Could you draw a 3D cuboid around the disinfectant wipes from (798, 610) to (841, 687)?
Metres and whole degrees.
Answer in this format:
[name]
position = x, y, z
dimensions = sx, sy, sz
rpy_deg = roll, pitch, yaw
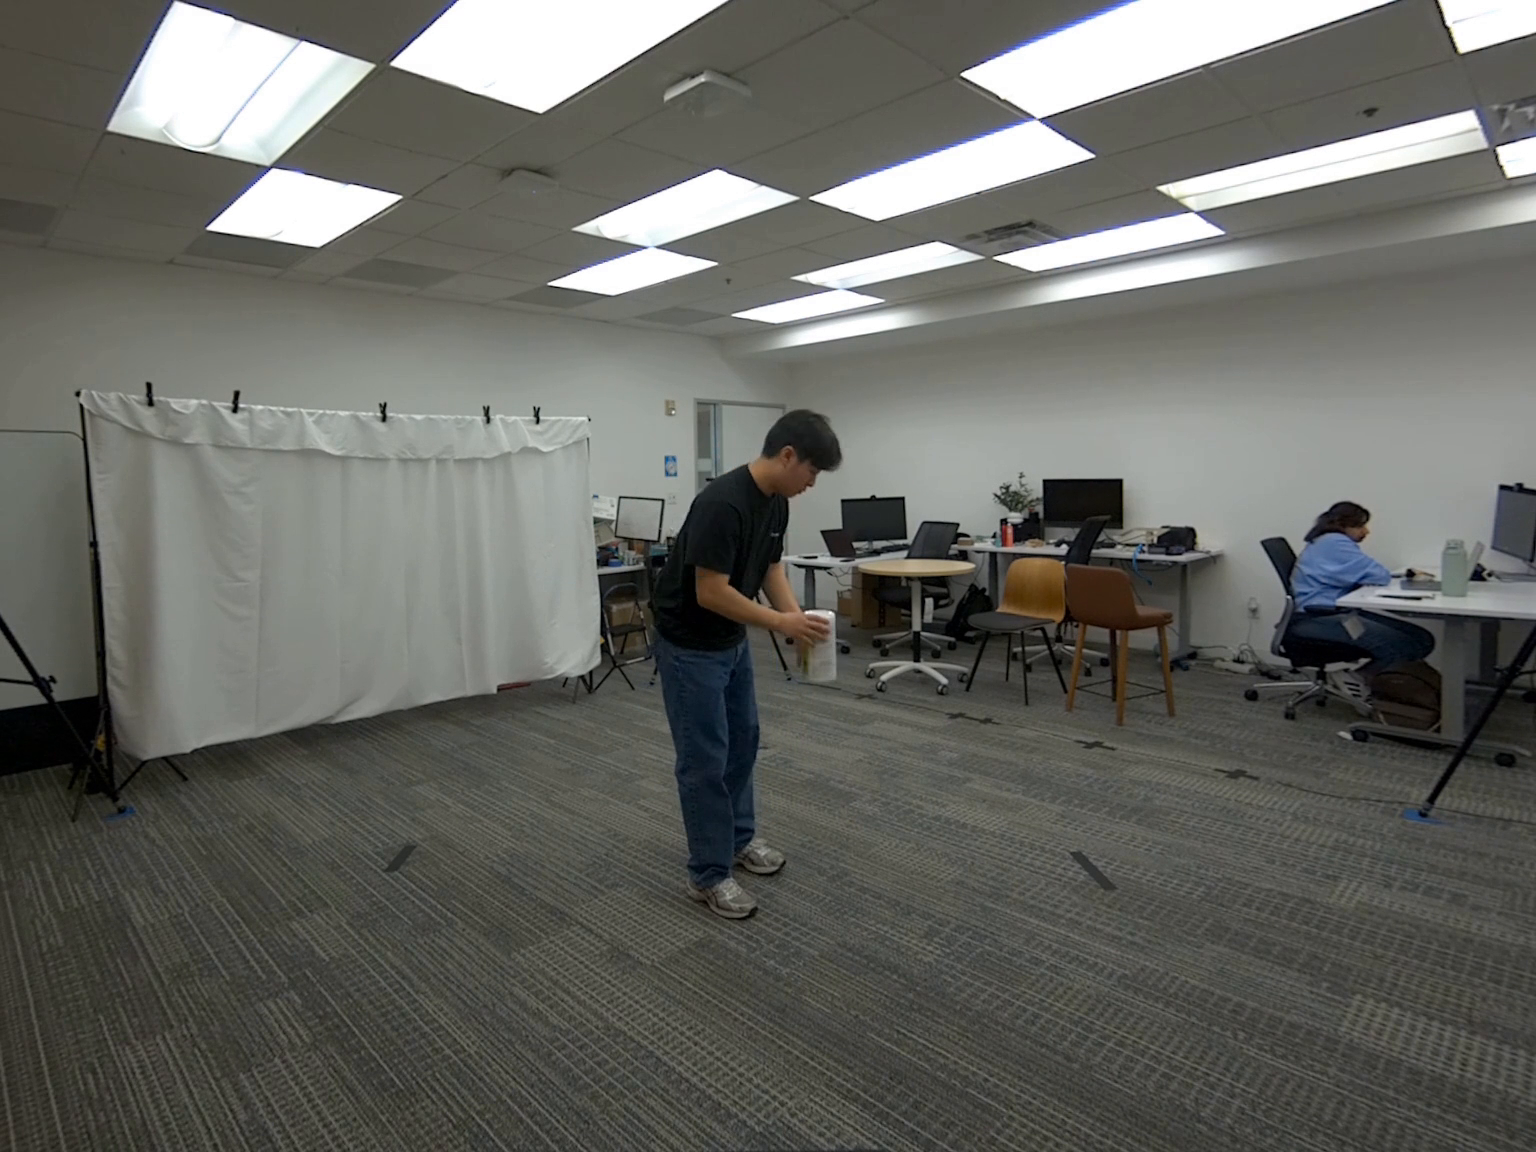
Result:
[disinfectant wipes]
position = 0.163, 0.229, 2.746
dimensions = 0.118, 0.216, 0.119
rpy_deg = 0, 7, -2
